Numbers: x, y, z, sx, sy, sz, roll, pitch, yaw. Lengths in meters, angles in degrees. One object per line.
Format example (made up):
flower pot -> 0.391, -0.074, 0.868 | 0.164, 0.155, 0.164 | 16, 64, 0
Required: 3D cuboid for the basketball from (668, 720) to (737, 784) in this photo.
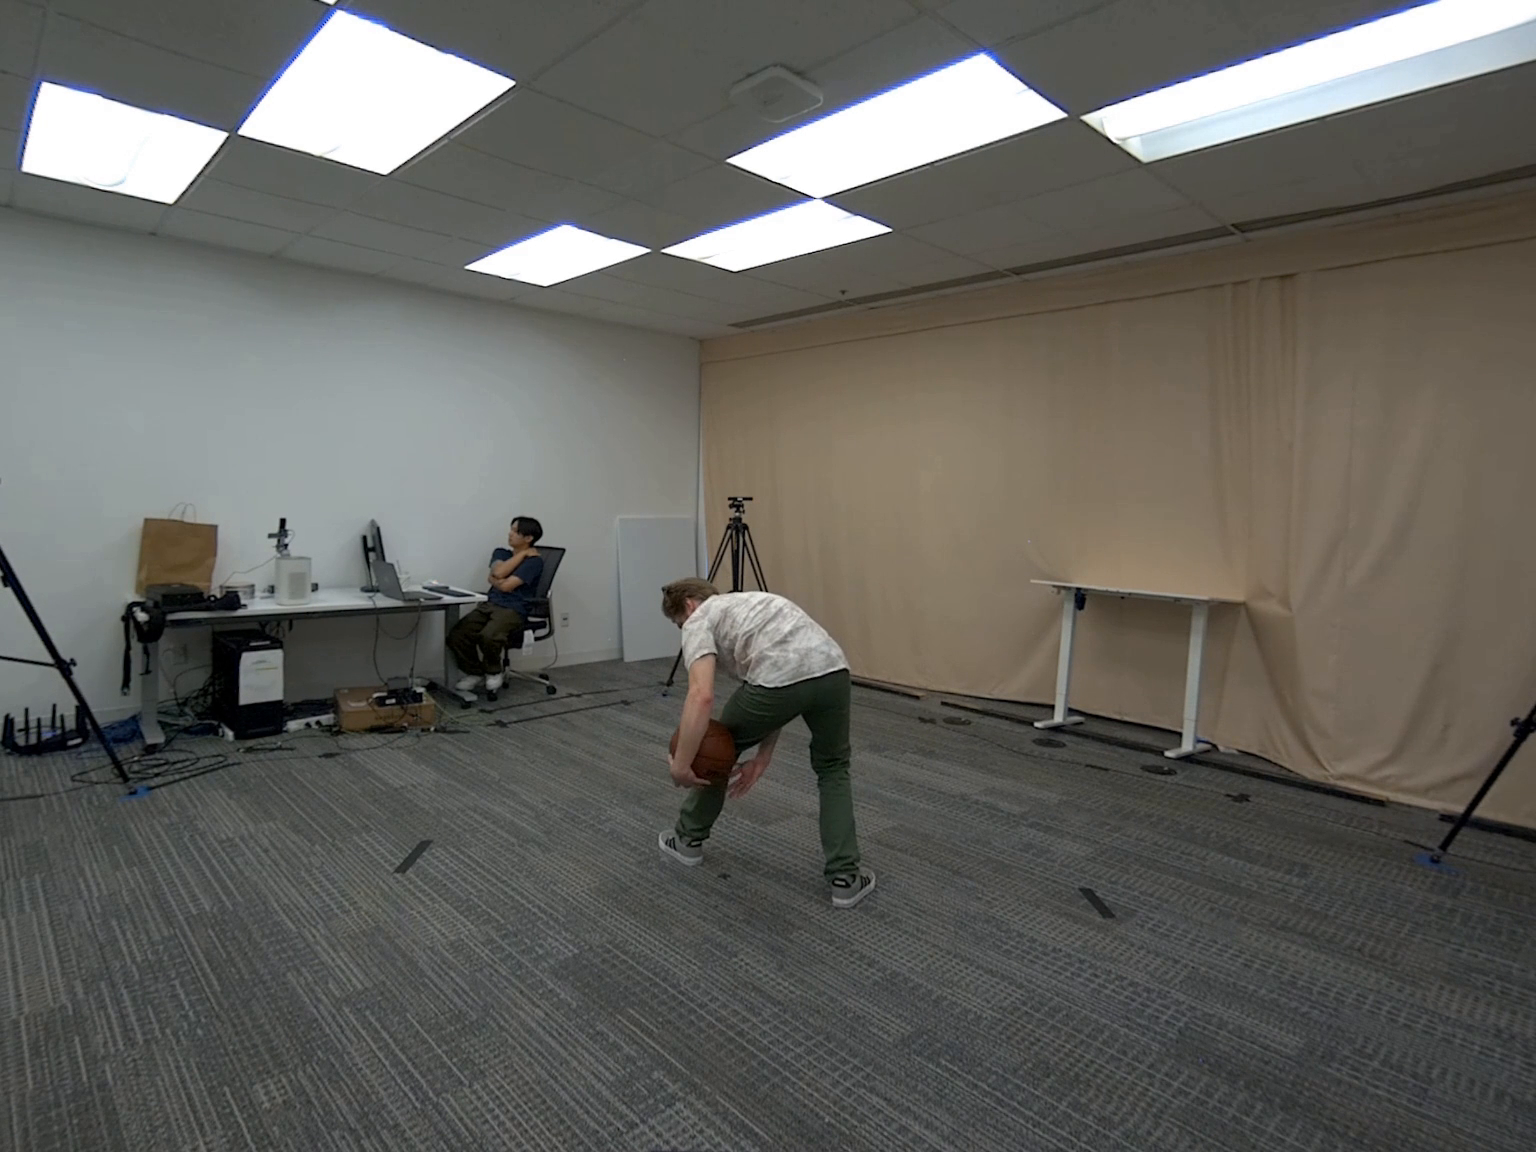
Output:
basketball -> -0.241, 0.635, 3.018 | 0.236, 0.235, 0.237 | 1, 4, -1
